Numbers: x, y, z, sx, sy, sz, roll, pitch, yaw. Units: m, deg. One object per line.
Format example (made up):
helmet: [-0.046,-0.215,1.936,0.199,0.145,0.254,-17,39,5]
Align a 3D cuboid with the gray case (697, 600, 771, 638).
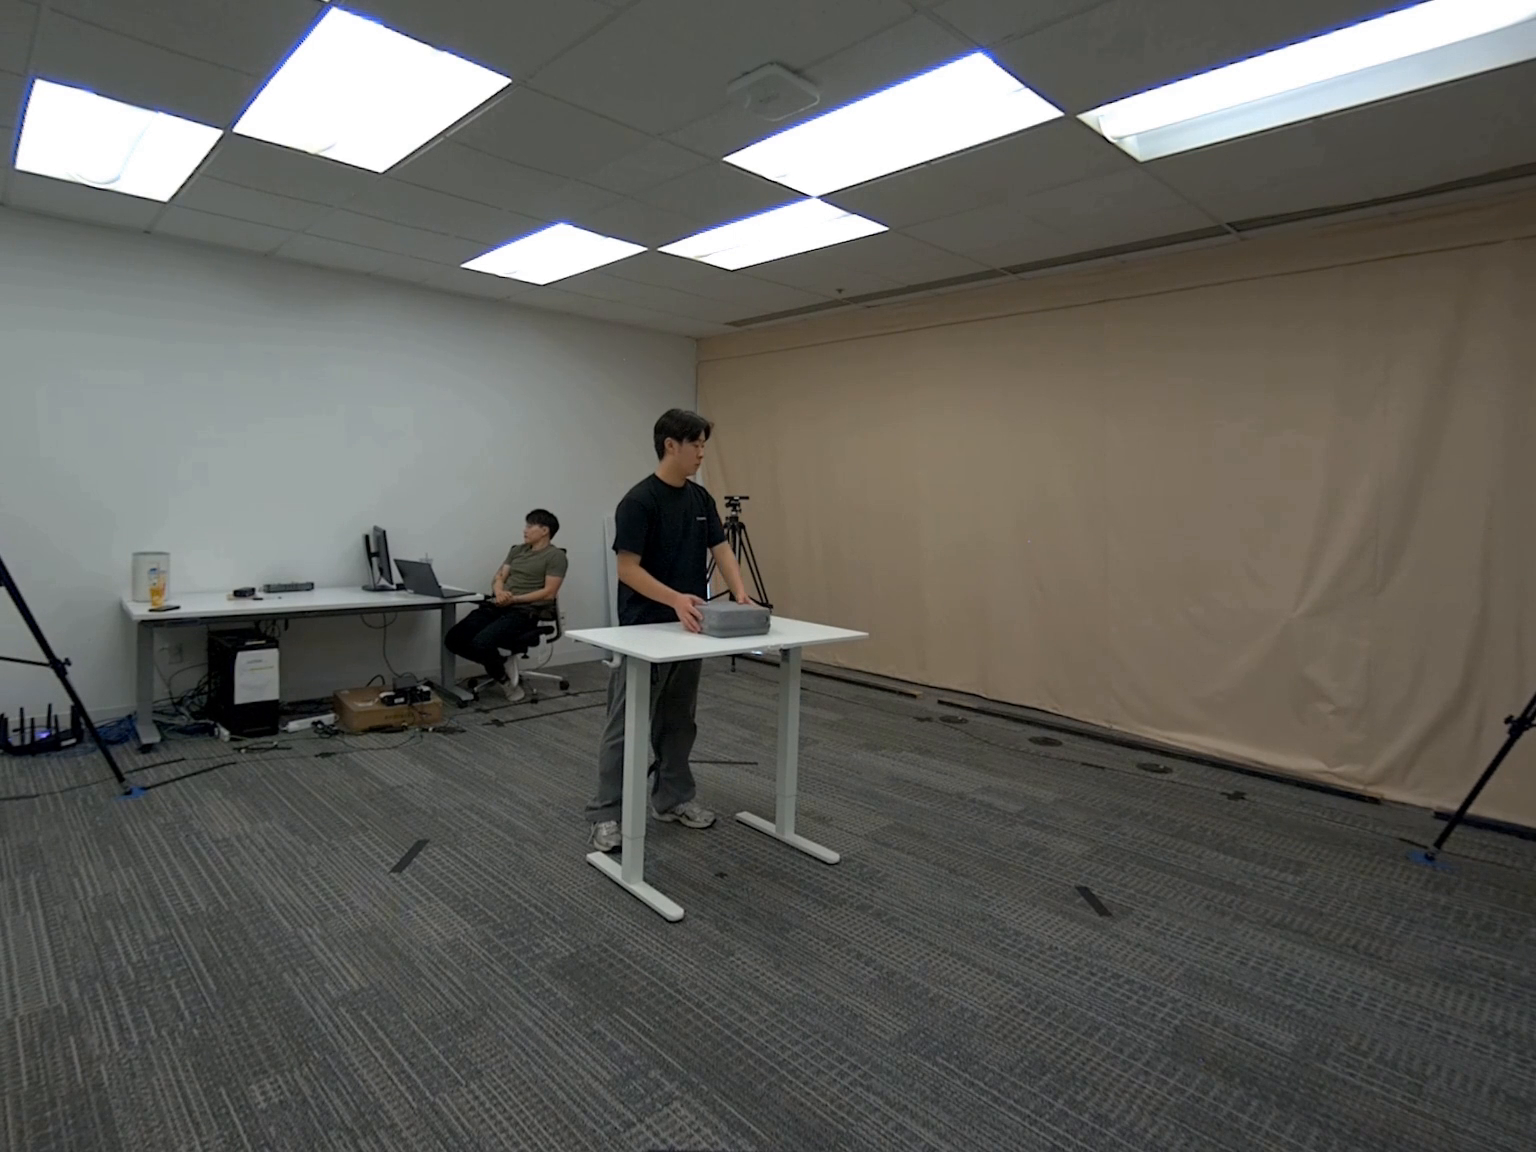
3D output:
gray case: [-0.139,0.164,3.192,0.281,0.103,0.269,-1,6,-33]
